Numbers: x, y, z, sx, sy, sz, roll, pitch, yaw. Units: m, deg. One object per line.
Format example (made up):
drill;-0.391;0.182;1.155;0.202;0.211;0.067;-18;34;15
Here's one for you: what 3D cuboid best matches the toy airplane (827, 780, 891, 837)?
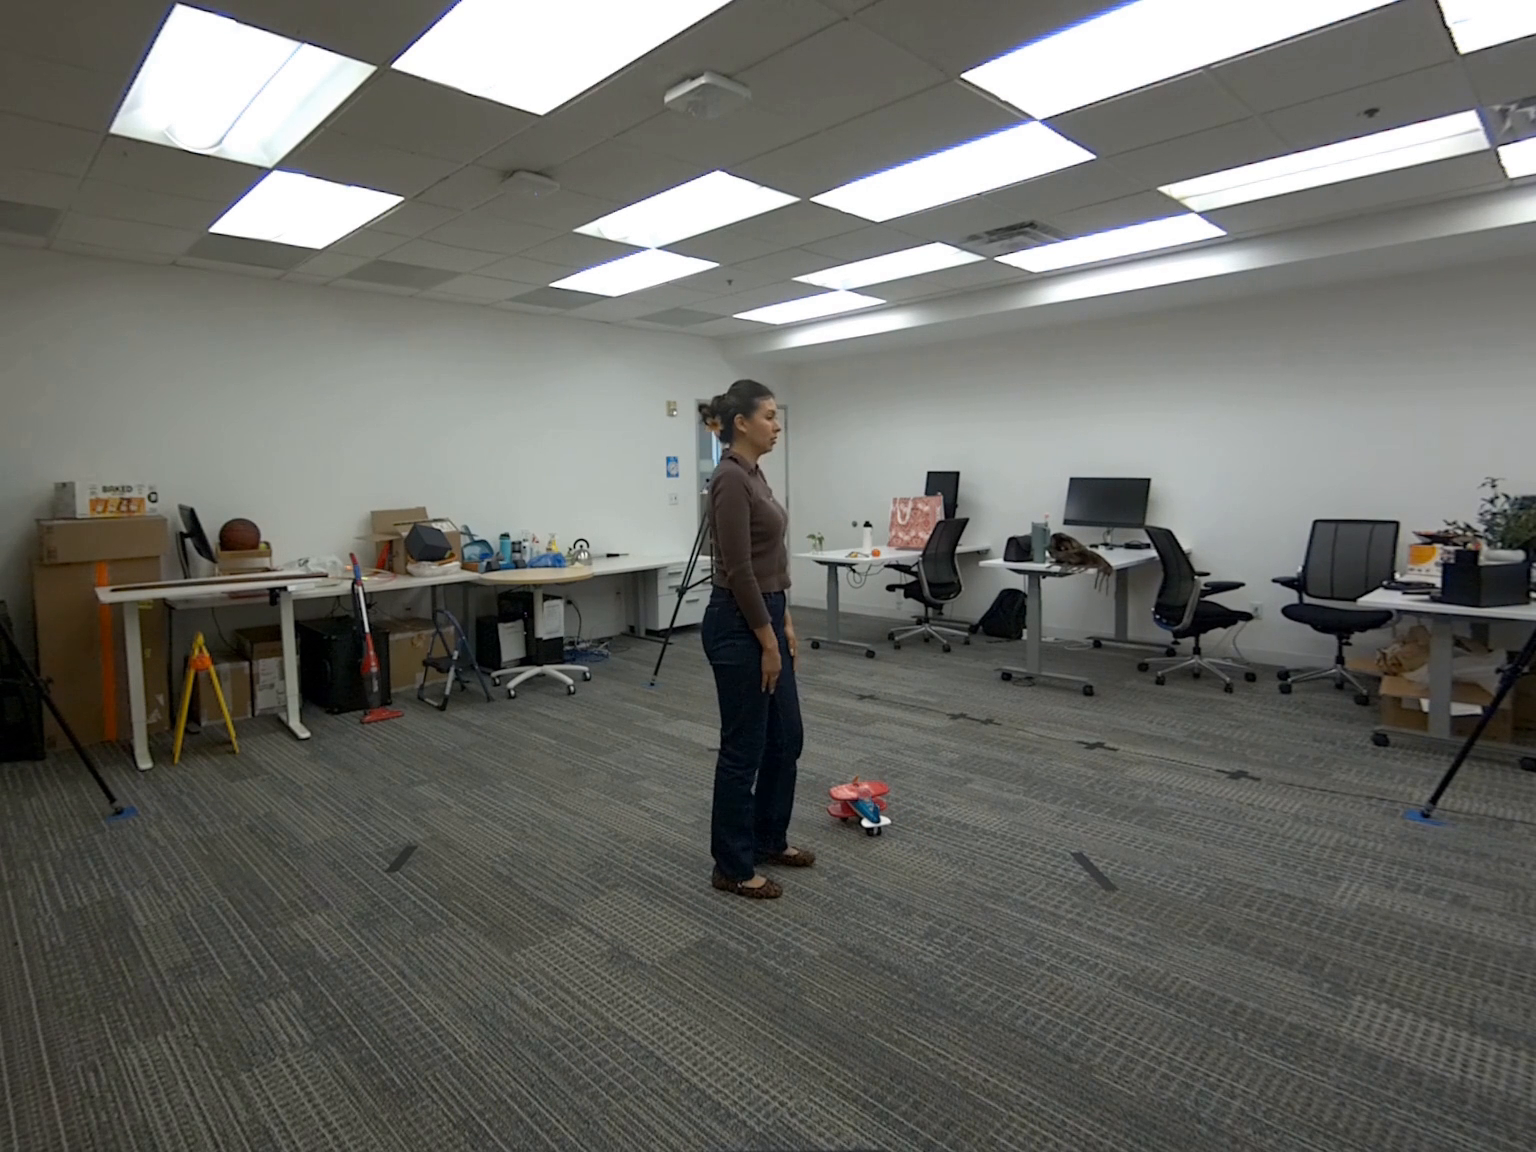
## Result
toy airplane;0.395;0.927;3.423;0.267;0.156;0.244;2;6;42
